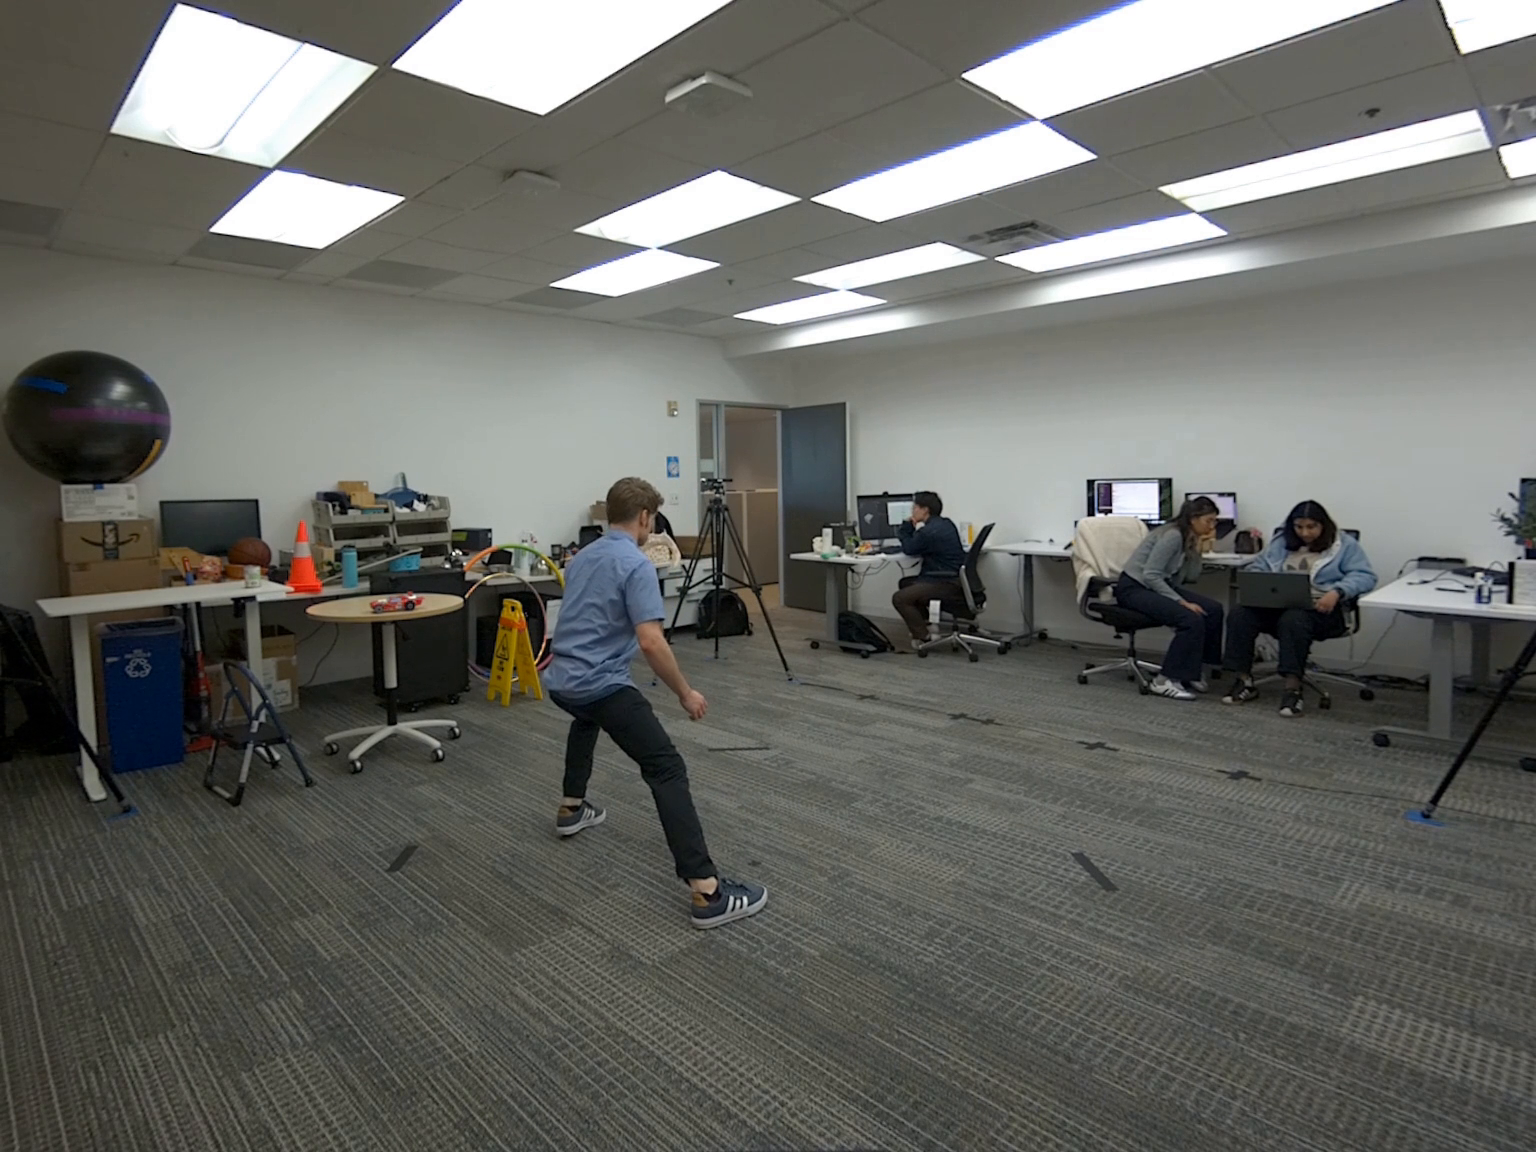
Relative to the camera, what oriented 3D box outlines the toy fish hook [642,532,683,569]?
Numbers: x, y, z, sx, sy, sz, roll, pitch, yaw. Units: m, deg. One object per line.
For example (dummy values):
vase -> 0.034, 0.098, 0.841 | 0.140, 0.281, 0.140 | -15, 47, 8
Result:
toy fish hook -> -0.470, 0.026, 3.644 | 0.226, 0.521, 0.047 | -12, -33, 7
